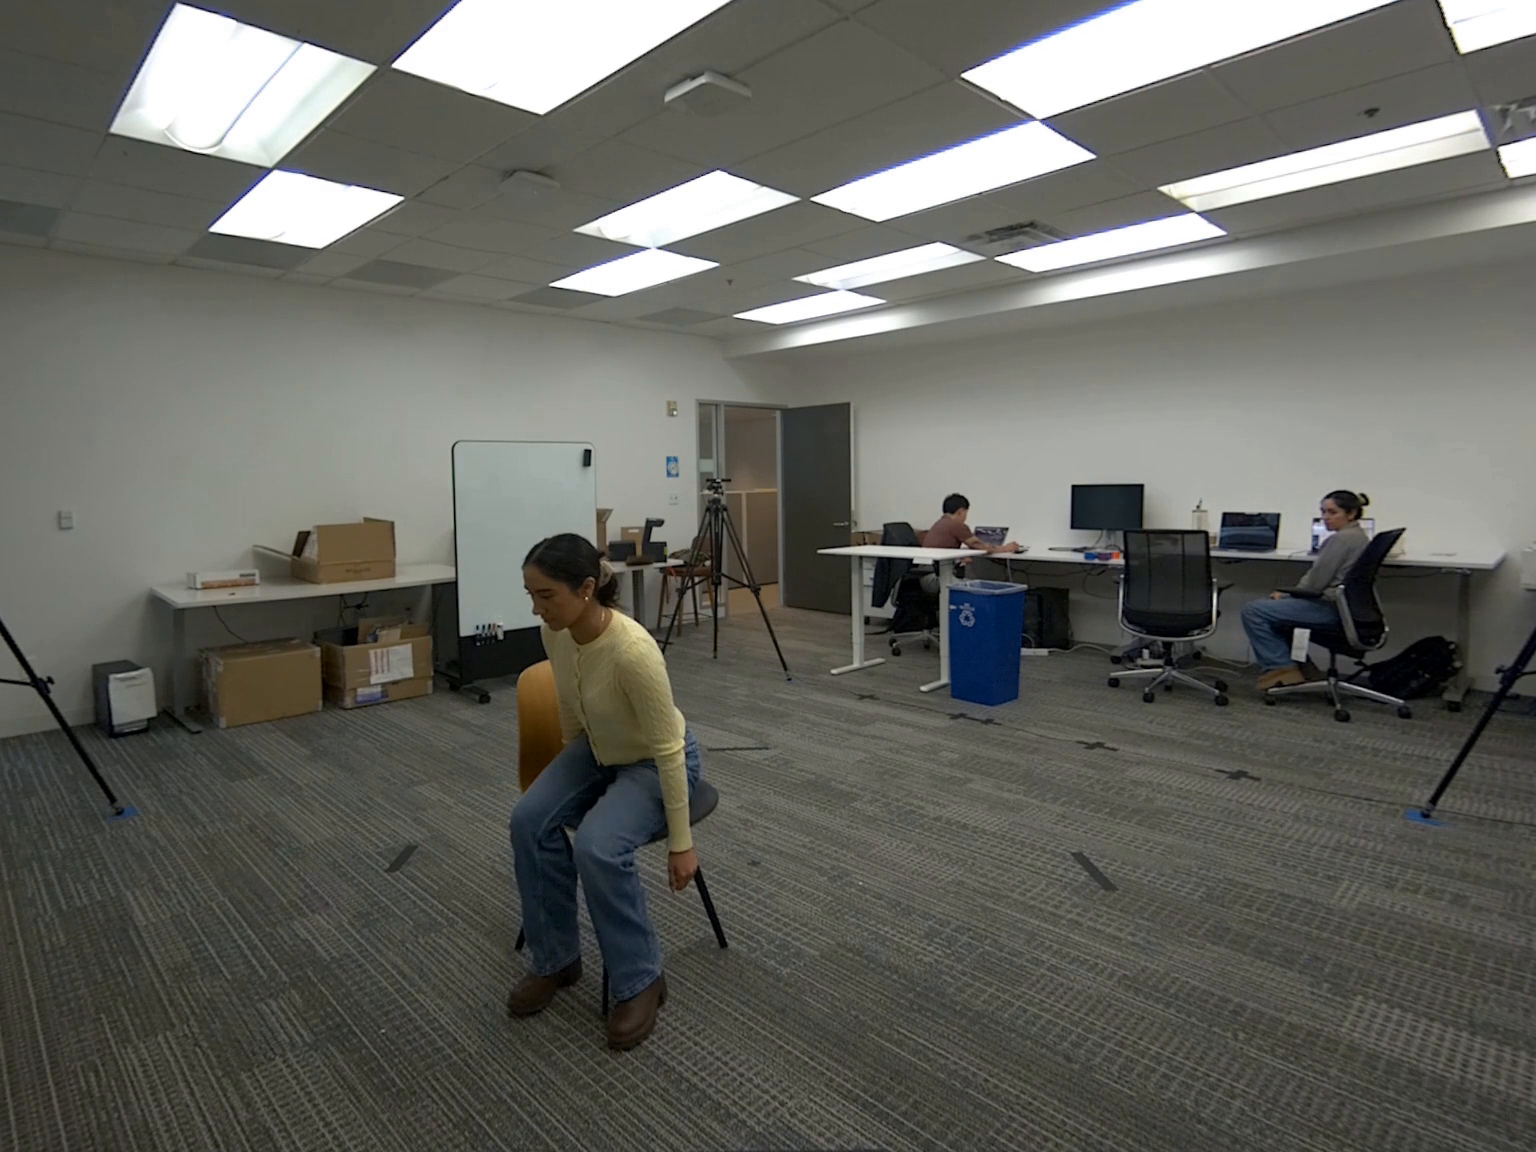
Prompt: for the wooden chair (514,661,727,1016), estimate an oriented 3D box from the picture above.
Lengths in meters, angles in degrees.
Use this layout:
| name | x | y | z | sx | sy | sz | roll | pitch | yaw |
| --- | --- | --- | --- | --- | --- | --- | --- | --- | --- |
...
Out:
| name | x | y | z | sx | sy | sz | roll | pitch | yaw |
| --- | --- | --- | --- | --- | --- | --- | --- | --- | --- |
| wooden chair | -0.433 | 0.695 | 2.522 | 0.465 | 0.876 | 0.538 | -5 | 3 | -45 |
